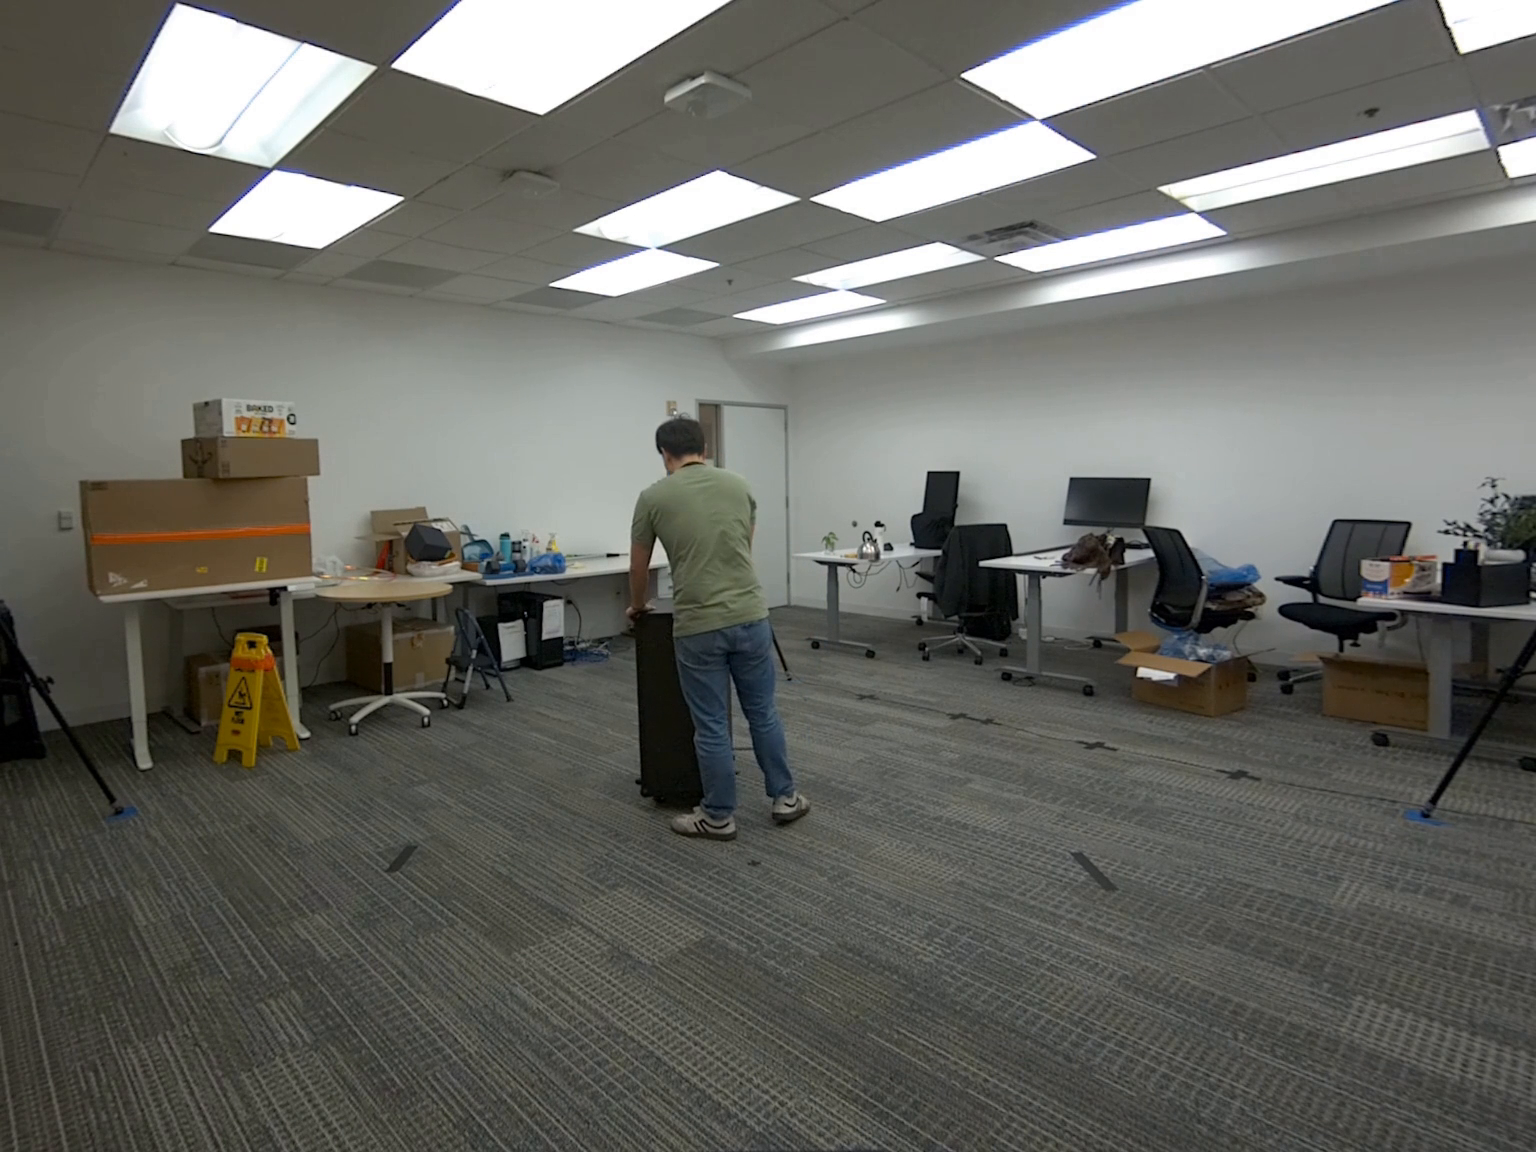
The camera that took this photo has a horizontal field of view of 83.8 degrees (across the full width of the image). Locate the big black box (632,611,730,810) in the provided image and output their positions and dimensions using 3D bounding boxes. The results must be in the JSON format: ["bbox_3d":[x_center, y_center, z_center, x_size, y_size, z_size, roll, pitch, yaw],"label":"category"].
[{"bbox_3d":[-0.371,0.548,3.803,0.398,0.859,0.521,-3,4,4],"label":"big black box"}]
